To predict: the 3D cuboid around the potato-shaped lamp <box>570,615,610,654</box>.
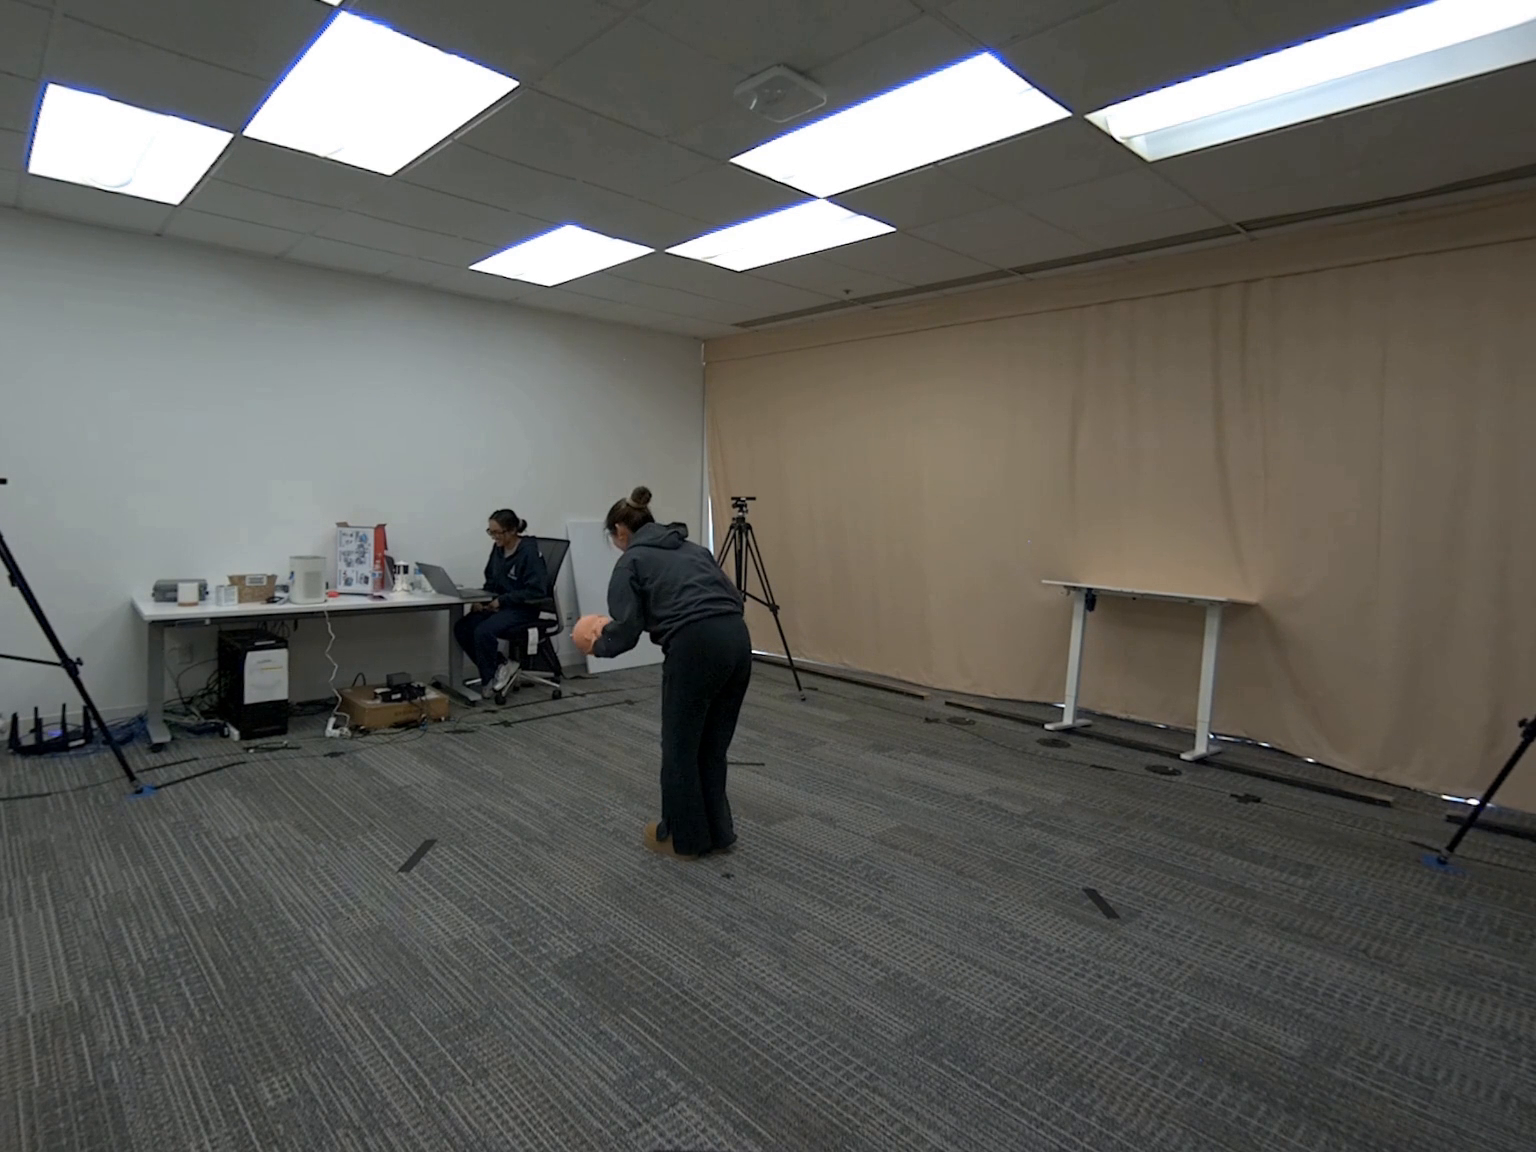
[{"bbox_3d":[-0.693,0.246,3.460,0.202,0.166,0.167,-9,-49,41],"label":"potato-shaped lamp"}]
